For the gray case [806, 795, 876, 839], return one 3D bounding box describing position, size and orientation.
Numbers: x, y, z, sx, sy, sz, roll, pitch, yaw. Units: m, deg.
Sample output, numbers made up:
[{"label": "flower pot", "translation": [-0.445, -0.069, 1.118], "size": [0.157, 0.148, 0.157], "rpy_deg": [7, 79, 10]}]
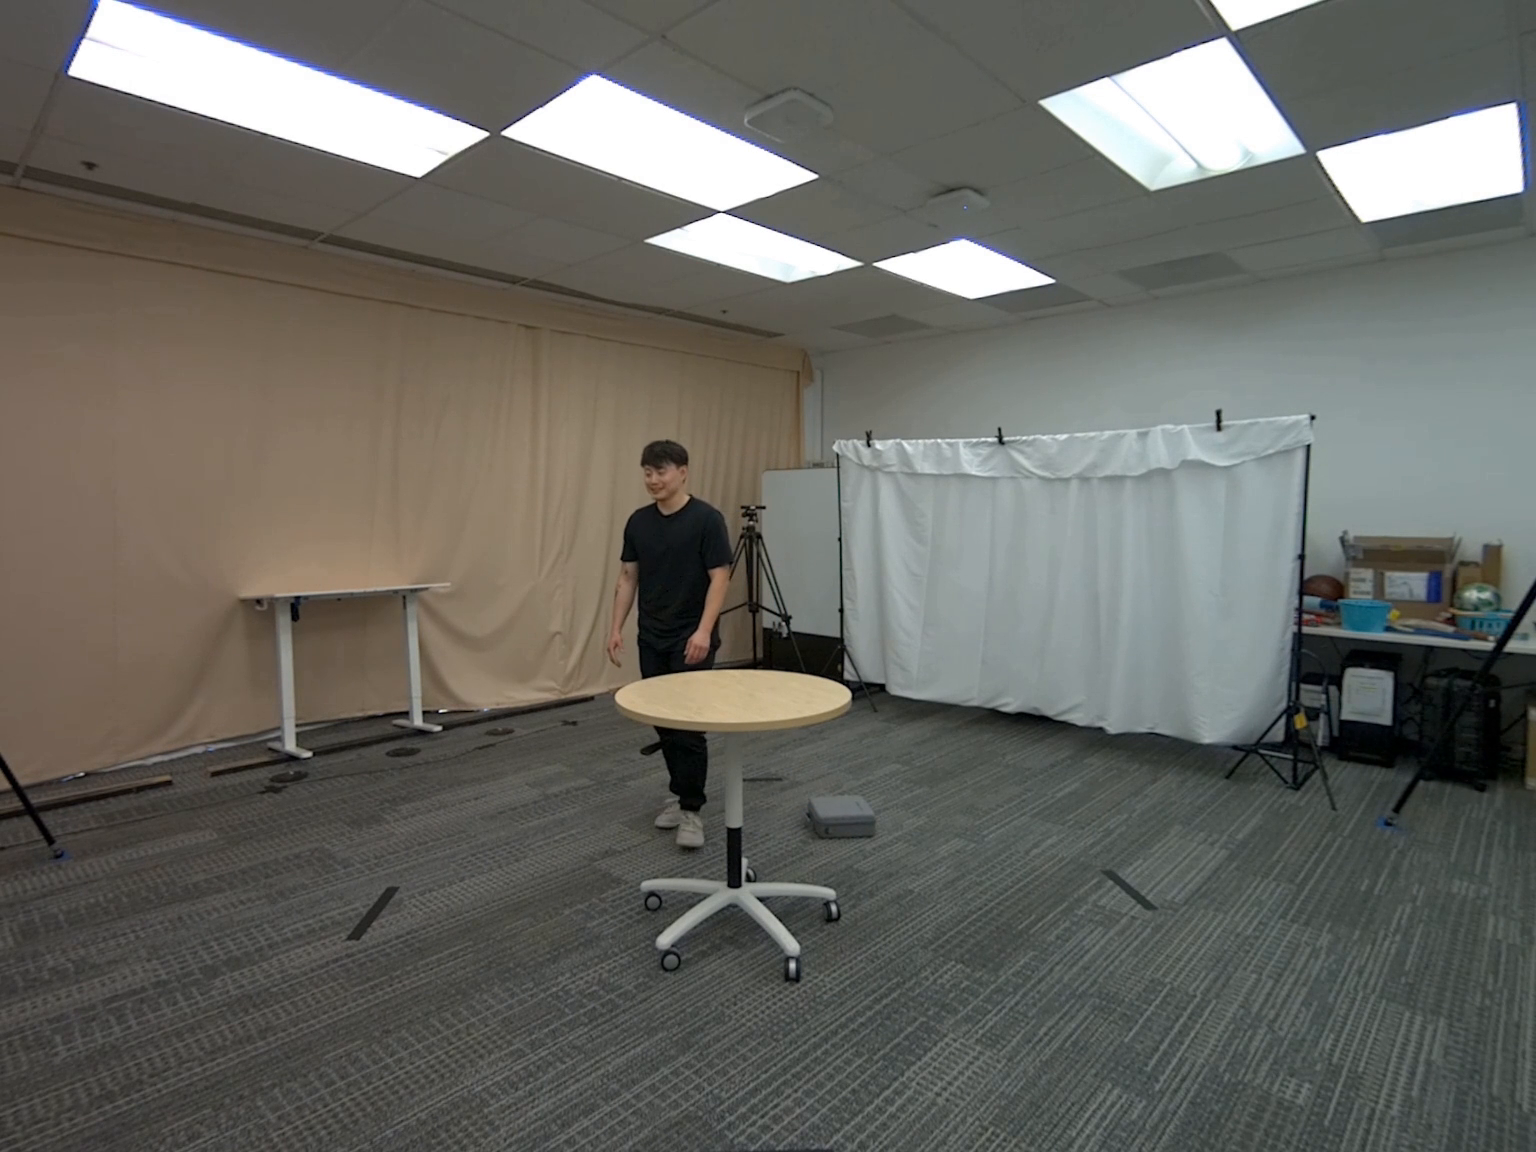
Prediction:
[{"label": "gray case", "translation": [0.319, 1.031, 3.639], "size": [0.259, 0.104, 0.259], "rpy_deg": [-2, 4, -7]}]
